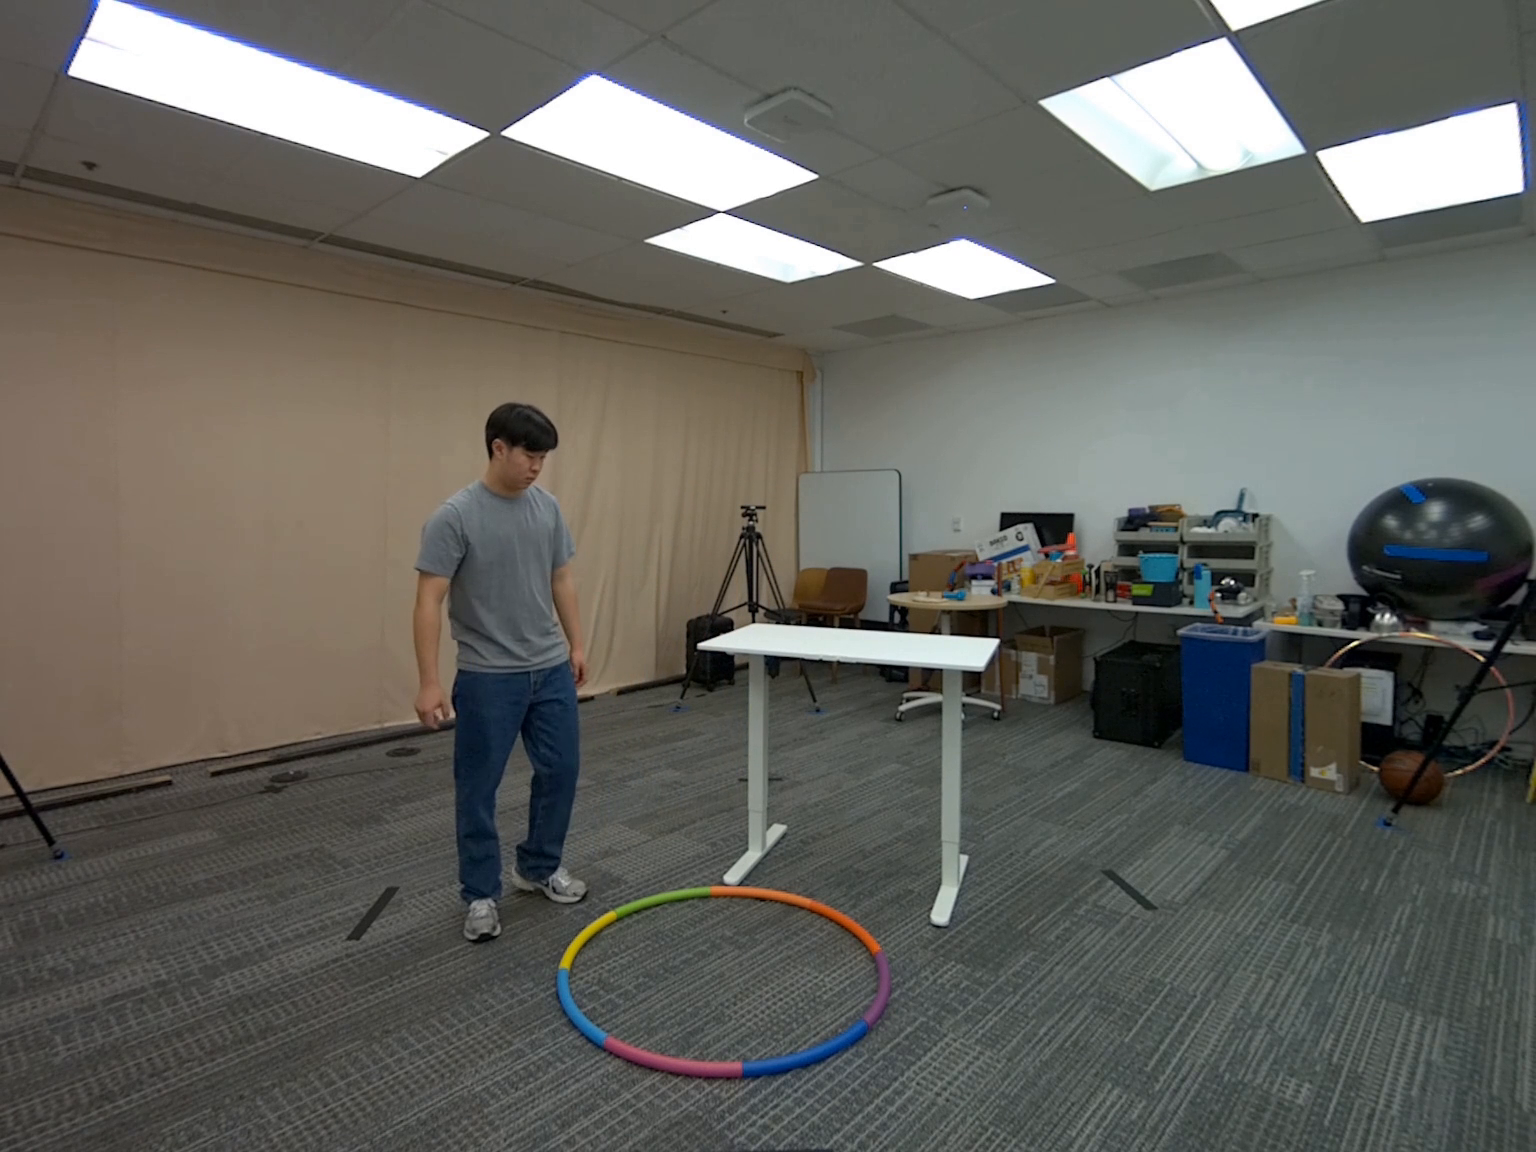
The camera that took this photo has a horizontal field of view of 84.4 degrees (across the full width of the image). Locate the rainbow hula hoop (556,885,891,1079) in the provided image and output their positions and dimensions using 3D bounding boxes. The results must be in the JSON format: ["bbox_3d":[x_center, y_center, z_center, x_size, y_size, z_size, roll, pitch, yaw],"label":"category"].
[{"bbox_3d":[-0.133,1.150,2.541,0.978,0.035,0.982,-1,5,-2],"label":"rainbow hula hoop"}]
